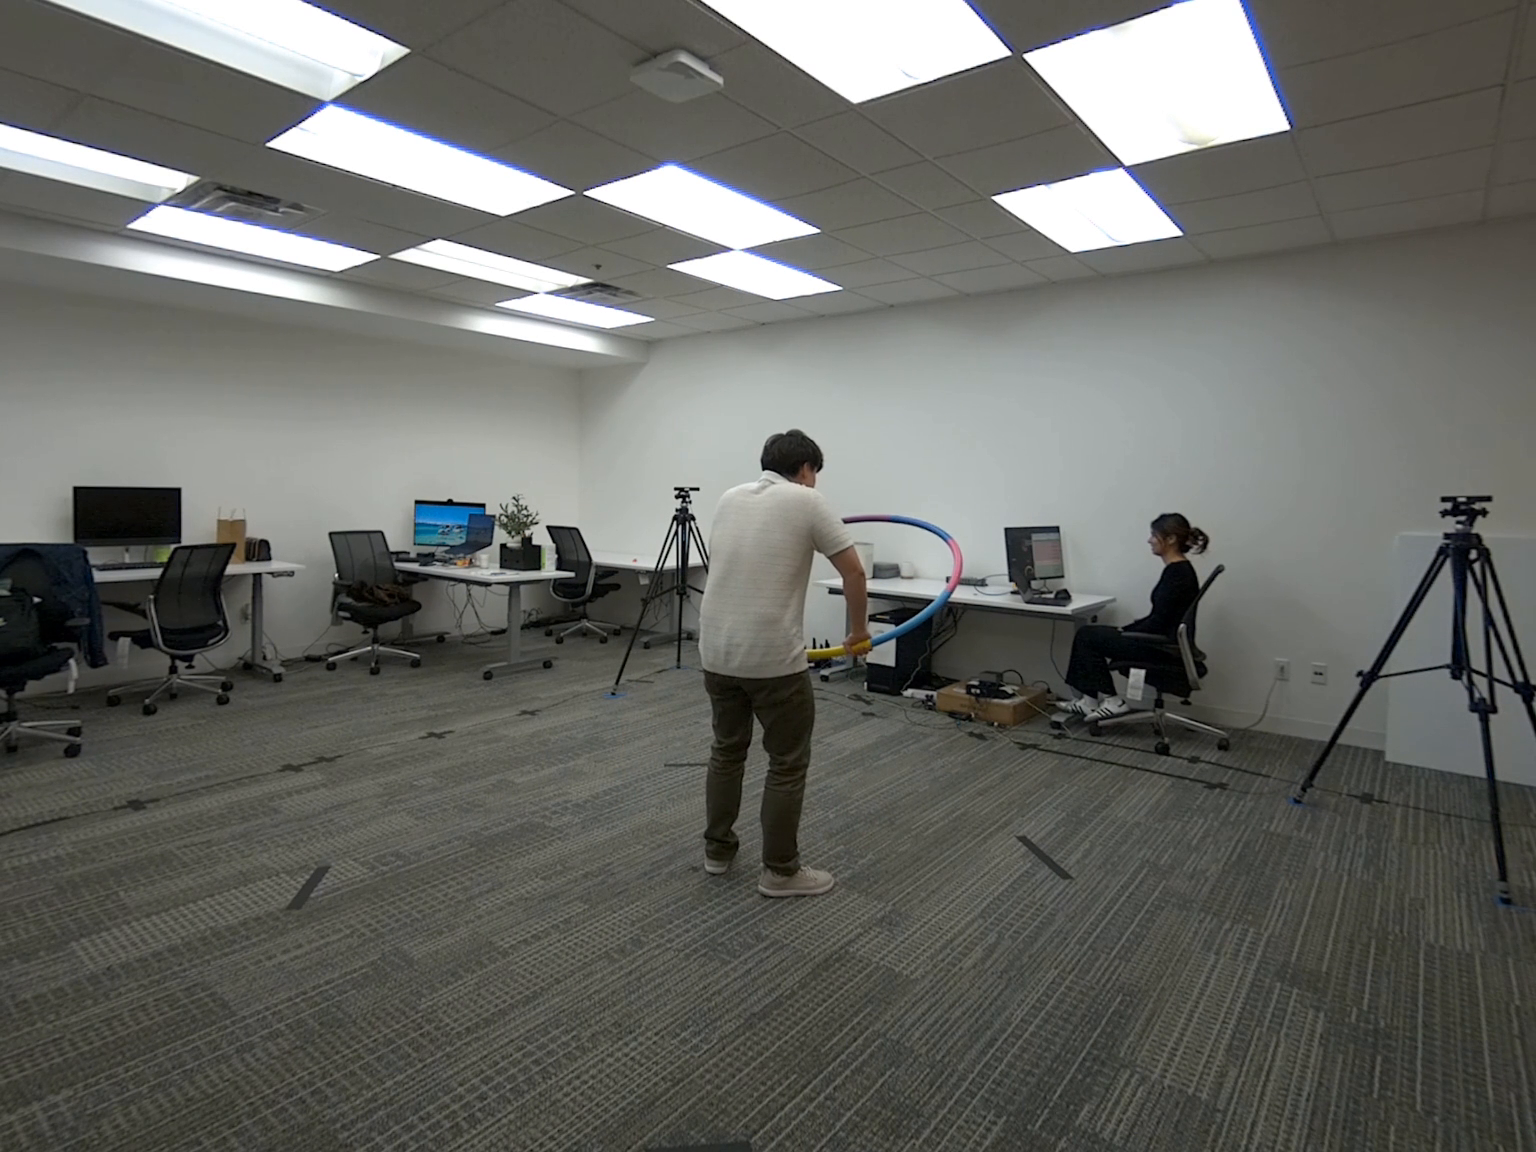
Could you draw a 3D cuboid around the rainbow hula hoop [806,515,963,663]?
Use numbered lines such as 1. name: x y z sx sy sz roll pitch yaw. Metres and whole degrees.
1. rainbow hula hoop: 0.284 0.008 3.449 0.984 0.034 1.004 -16 30 7
